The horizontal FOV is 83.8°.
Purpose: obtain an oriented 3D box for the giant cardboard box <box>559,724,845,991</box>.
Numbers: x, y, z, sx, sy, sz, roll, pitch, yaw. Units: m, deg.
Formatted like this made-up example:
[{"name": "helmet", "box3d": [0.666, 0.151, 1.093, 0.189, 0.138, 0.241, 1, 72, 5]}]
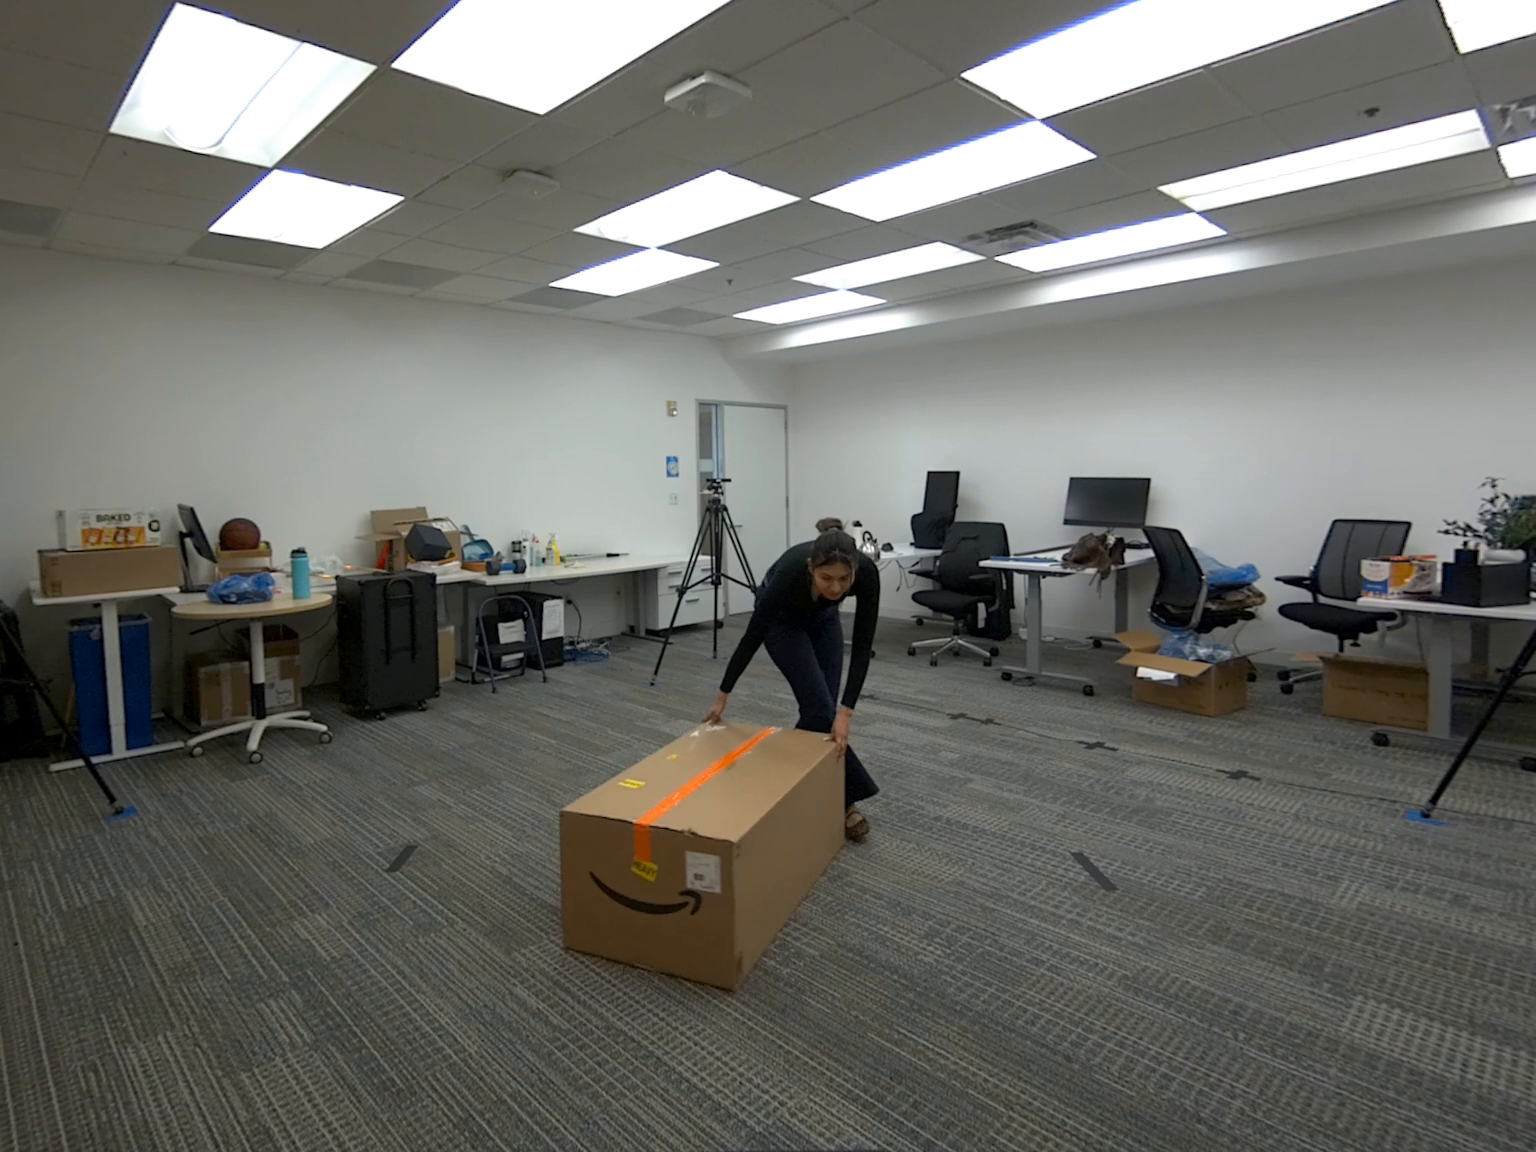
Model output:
[{"name": "giant cardboard box", "box3d": [-0.163, 0.856, 2.891, 0.590, 0.424, 1.008, 1, 6, 23]}]
